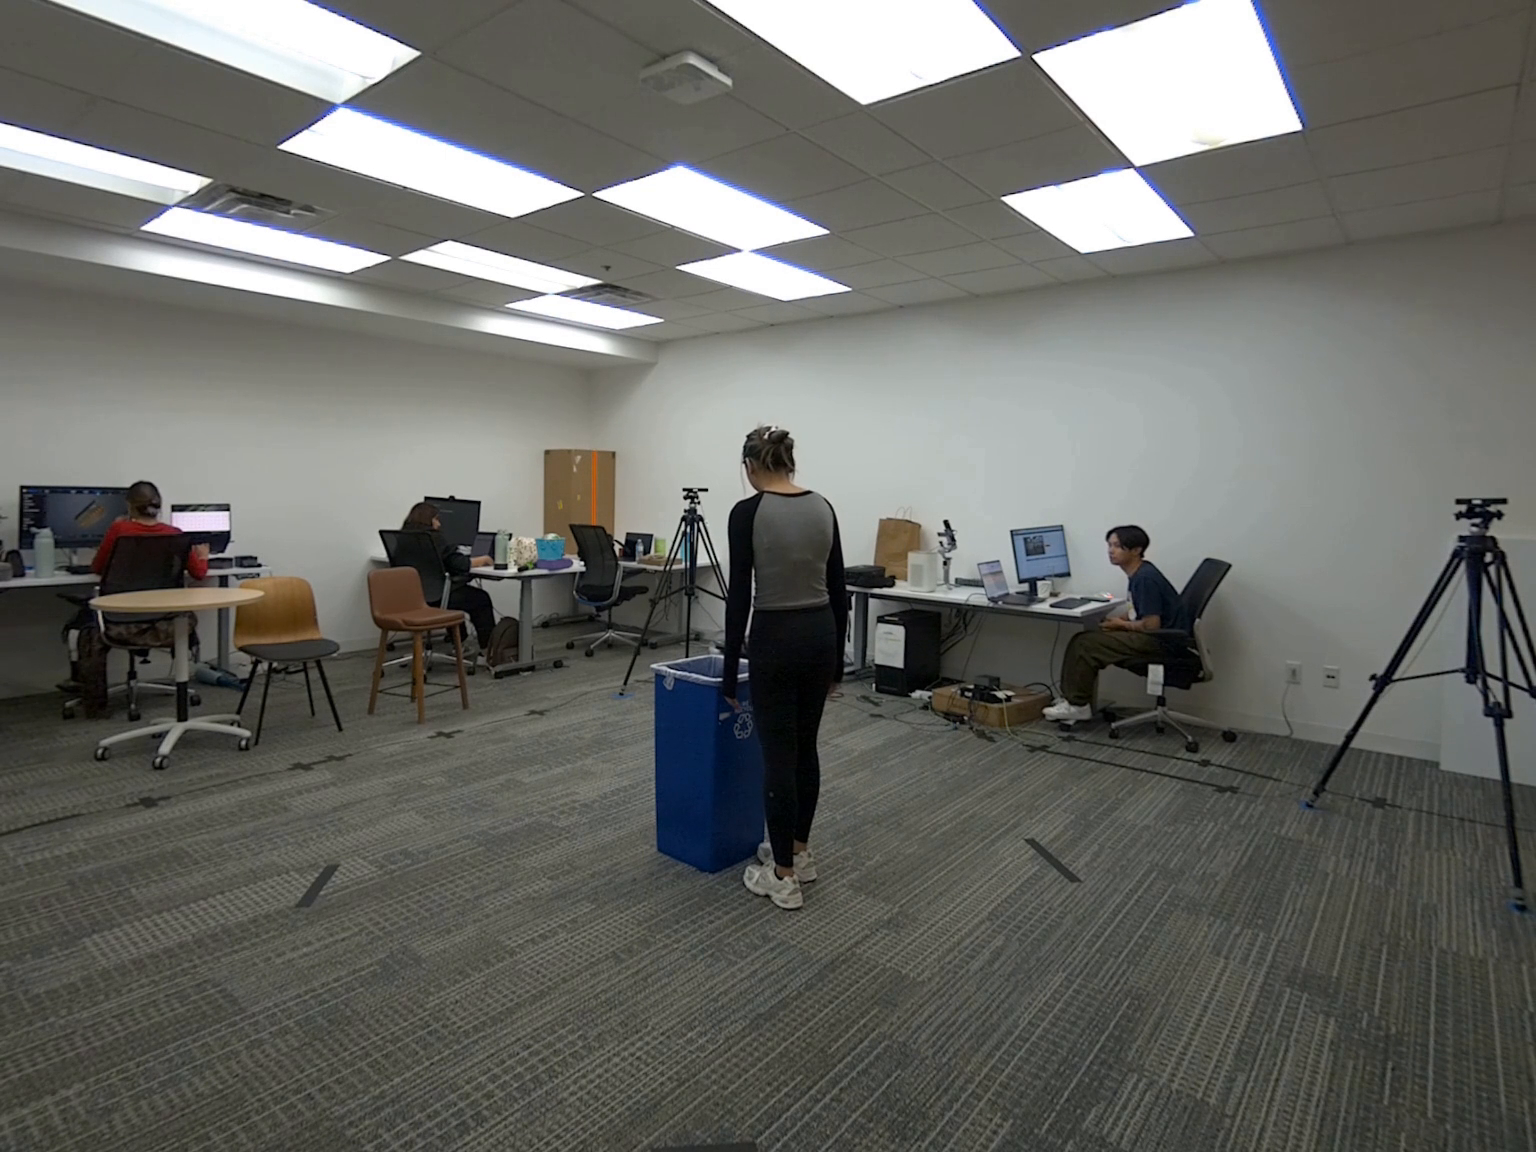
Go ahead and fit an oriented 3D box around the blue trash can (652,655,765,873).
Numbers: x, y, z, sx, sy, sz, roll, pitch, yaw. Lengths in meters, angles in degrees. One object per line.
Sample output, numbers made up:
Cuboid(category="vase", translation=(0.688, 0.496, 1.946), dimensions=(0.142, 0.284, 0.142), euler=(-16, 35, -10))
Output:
Cuboid(category="blue trash can", translation=(-0.224, 0.696, 3.269), dimensions=(0.391, 0.711, 0.363), euler=(4, 4, 40))
